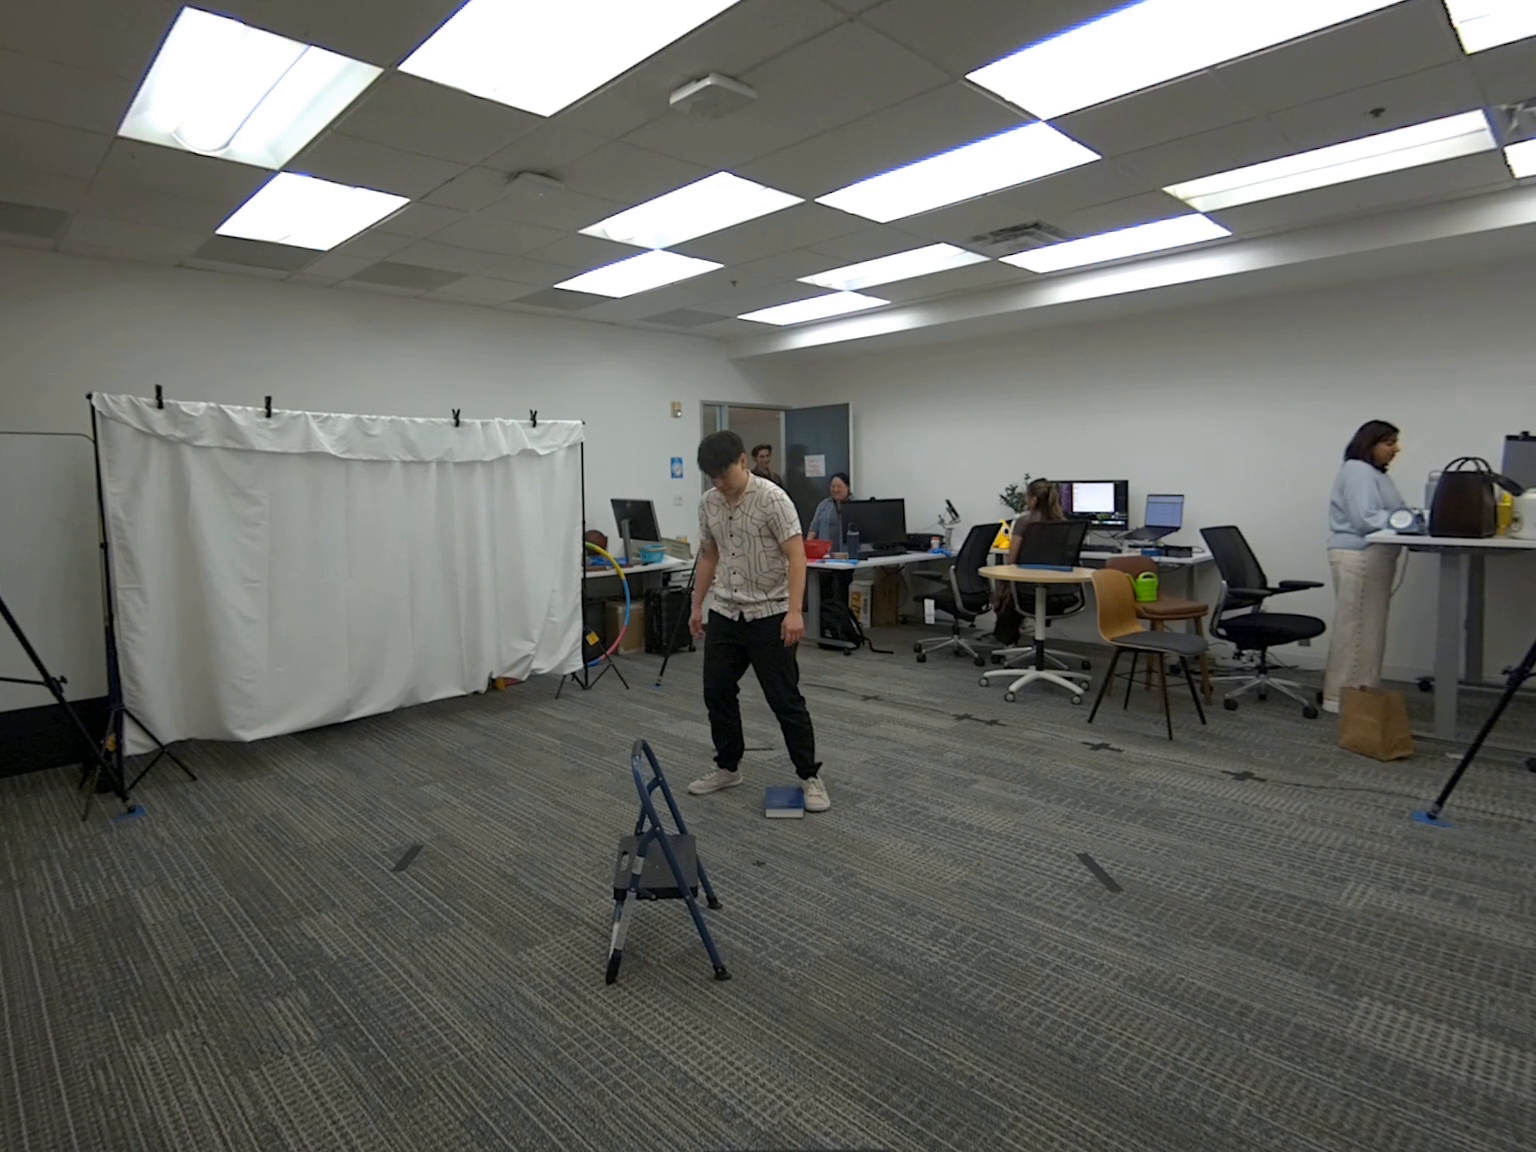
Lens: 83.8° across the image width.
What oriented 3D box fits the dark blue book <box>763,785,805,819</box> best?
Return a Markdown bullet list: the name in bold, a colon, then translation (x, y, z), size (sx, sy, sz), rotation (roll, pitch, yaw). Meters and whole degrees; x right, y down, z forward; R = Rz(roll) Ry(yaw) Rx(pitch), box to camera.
- **dark blue book**: translation (0.068, 0.964, 3.636), size (0.164, 0.045, 0.246), rotation (-1, 6, 1)
